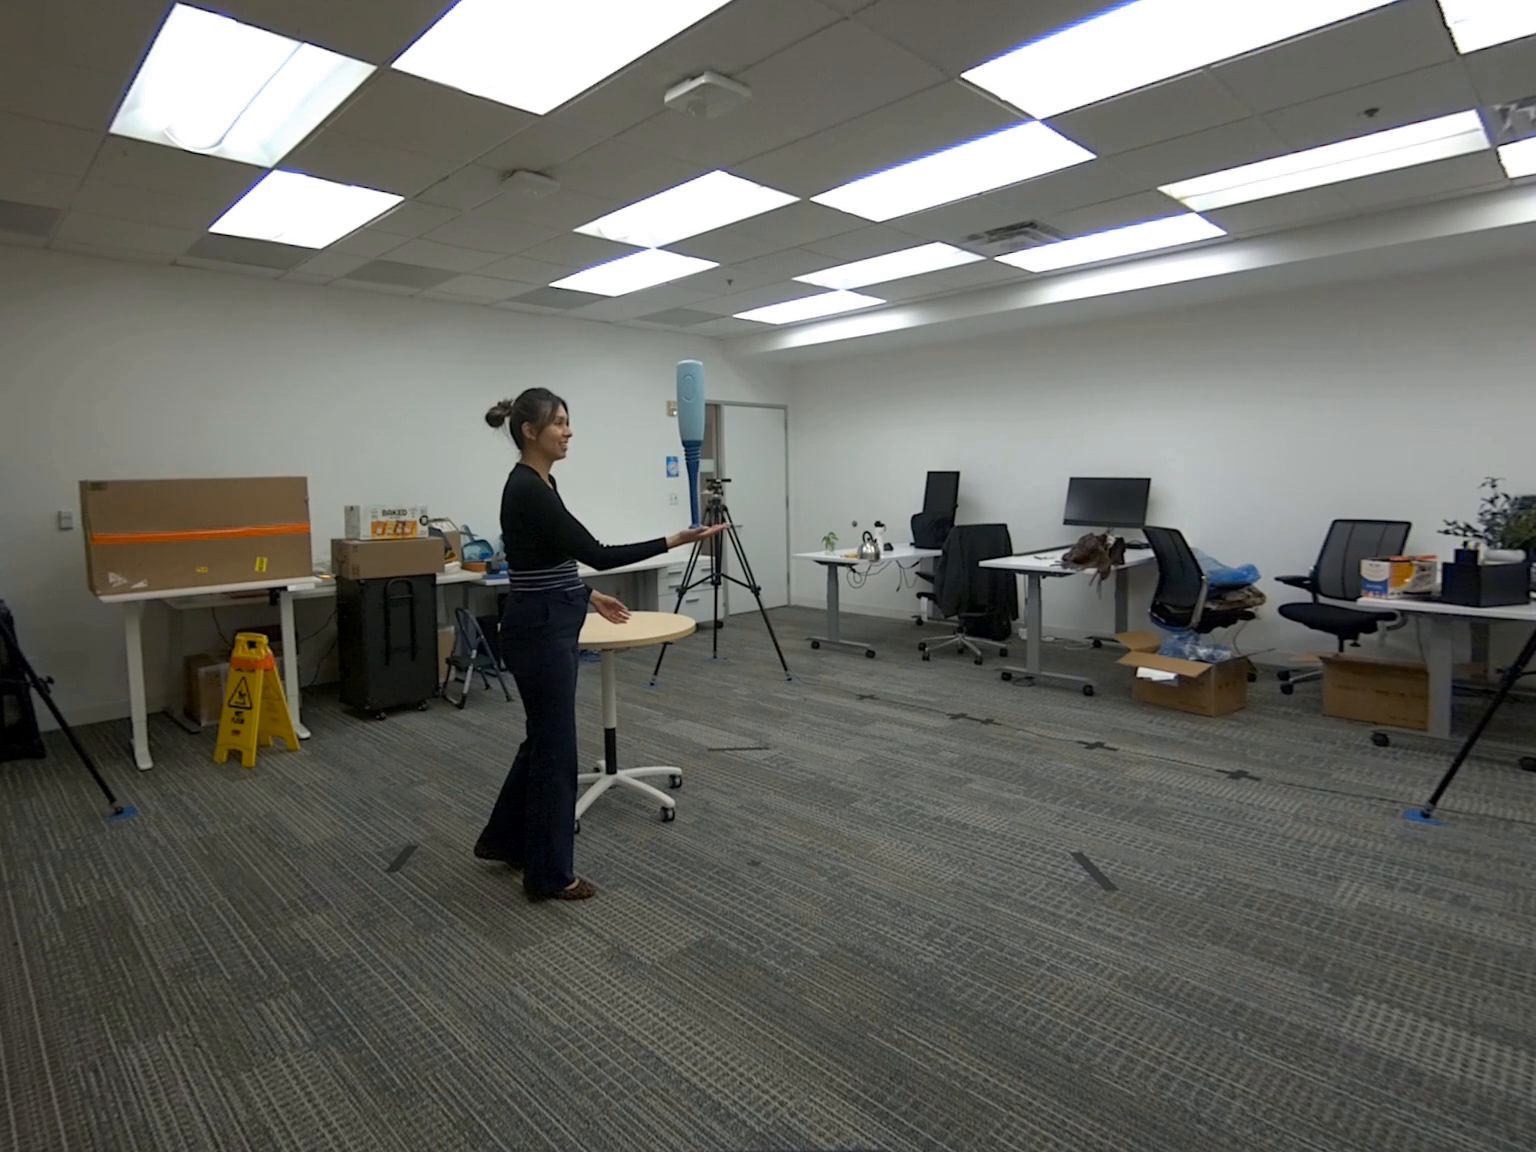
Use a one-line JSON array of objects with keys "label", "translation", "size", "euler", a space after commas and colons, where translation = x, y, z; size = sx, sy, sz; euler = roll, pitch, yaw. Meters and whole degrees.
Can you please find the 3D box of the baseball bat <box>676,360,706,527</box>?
[{"label": "baseball bat", "translation": [-0.247, -0.409, 2.714], "size": [0.089, 0.541, 0.089], "euler": [-2, 4, -1]}]
